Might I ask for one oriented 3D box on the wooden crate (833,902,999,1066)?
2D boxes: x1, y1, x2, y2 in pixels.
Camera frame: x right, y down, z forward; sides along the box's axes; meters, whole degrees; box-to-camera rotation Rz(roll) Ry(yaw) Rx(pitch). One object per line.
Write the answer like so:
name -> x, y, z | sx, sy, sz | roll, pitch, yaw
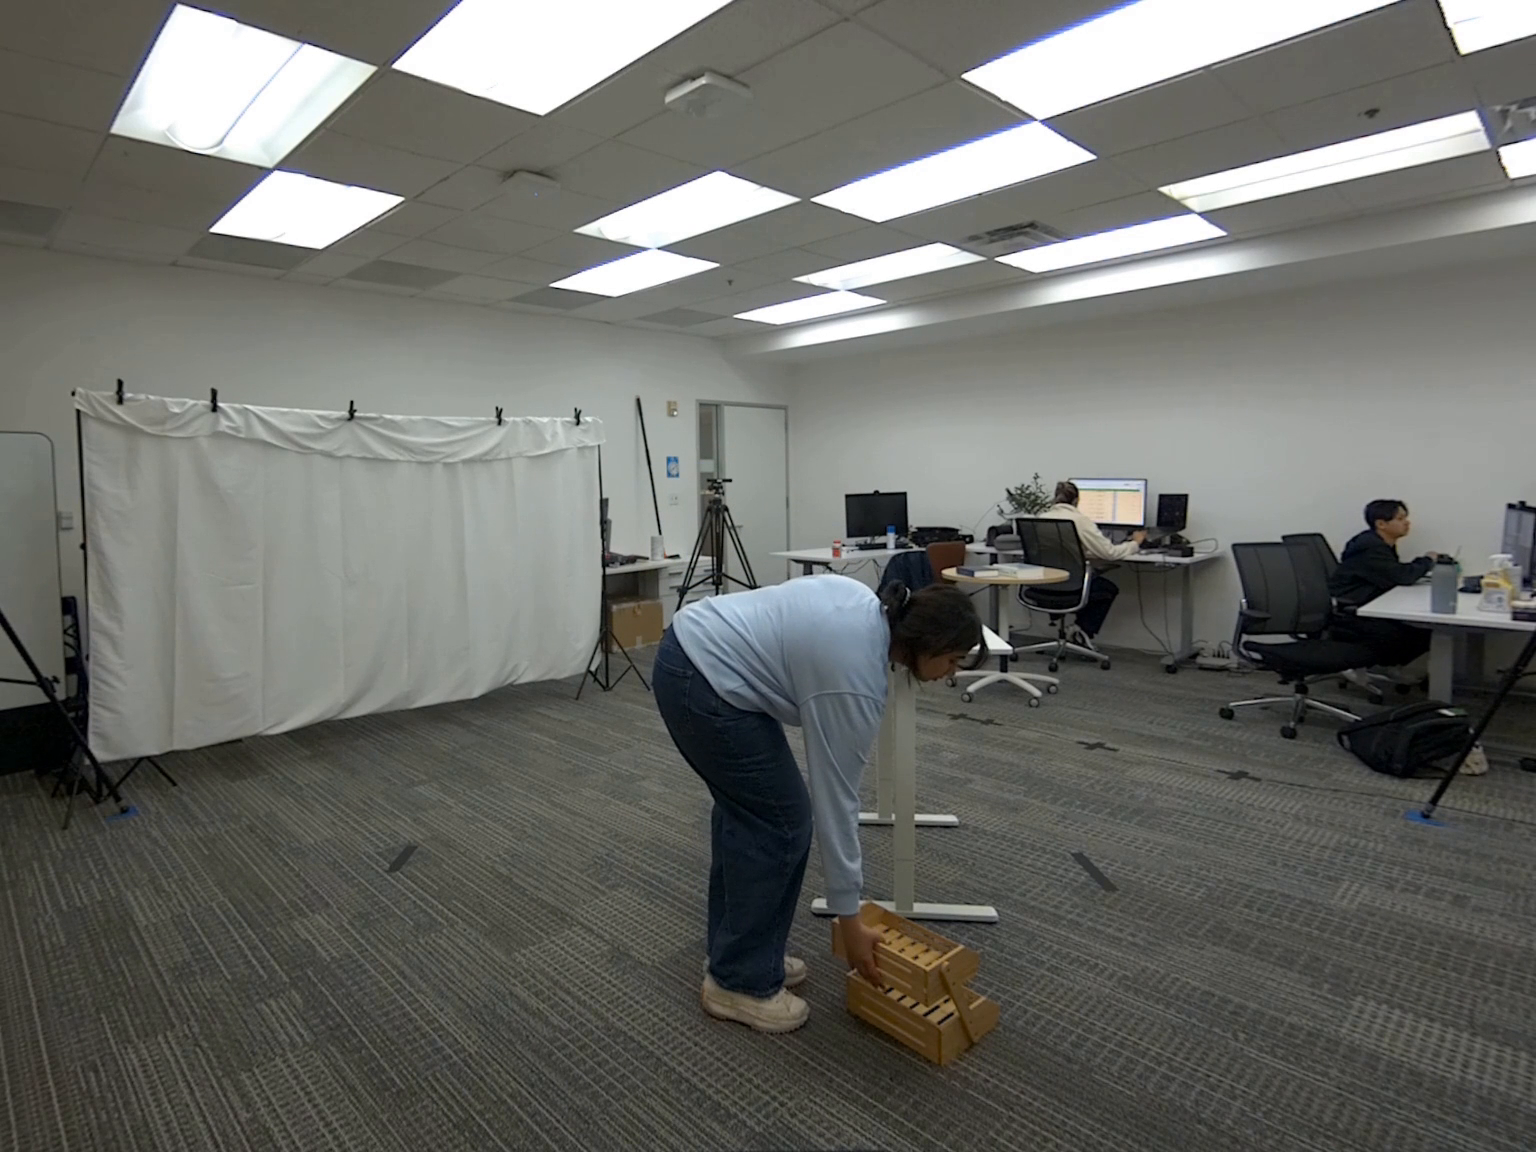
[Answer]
wooden crate -> 0.381, 0.998, 2.199 | 0.294, 0.272, 0.334 | -6, 7, -41
